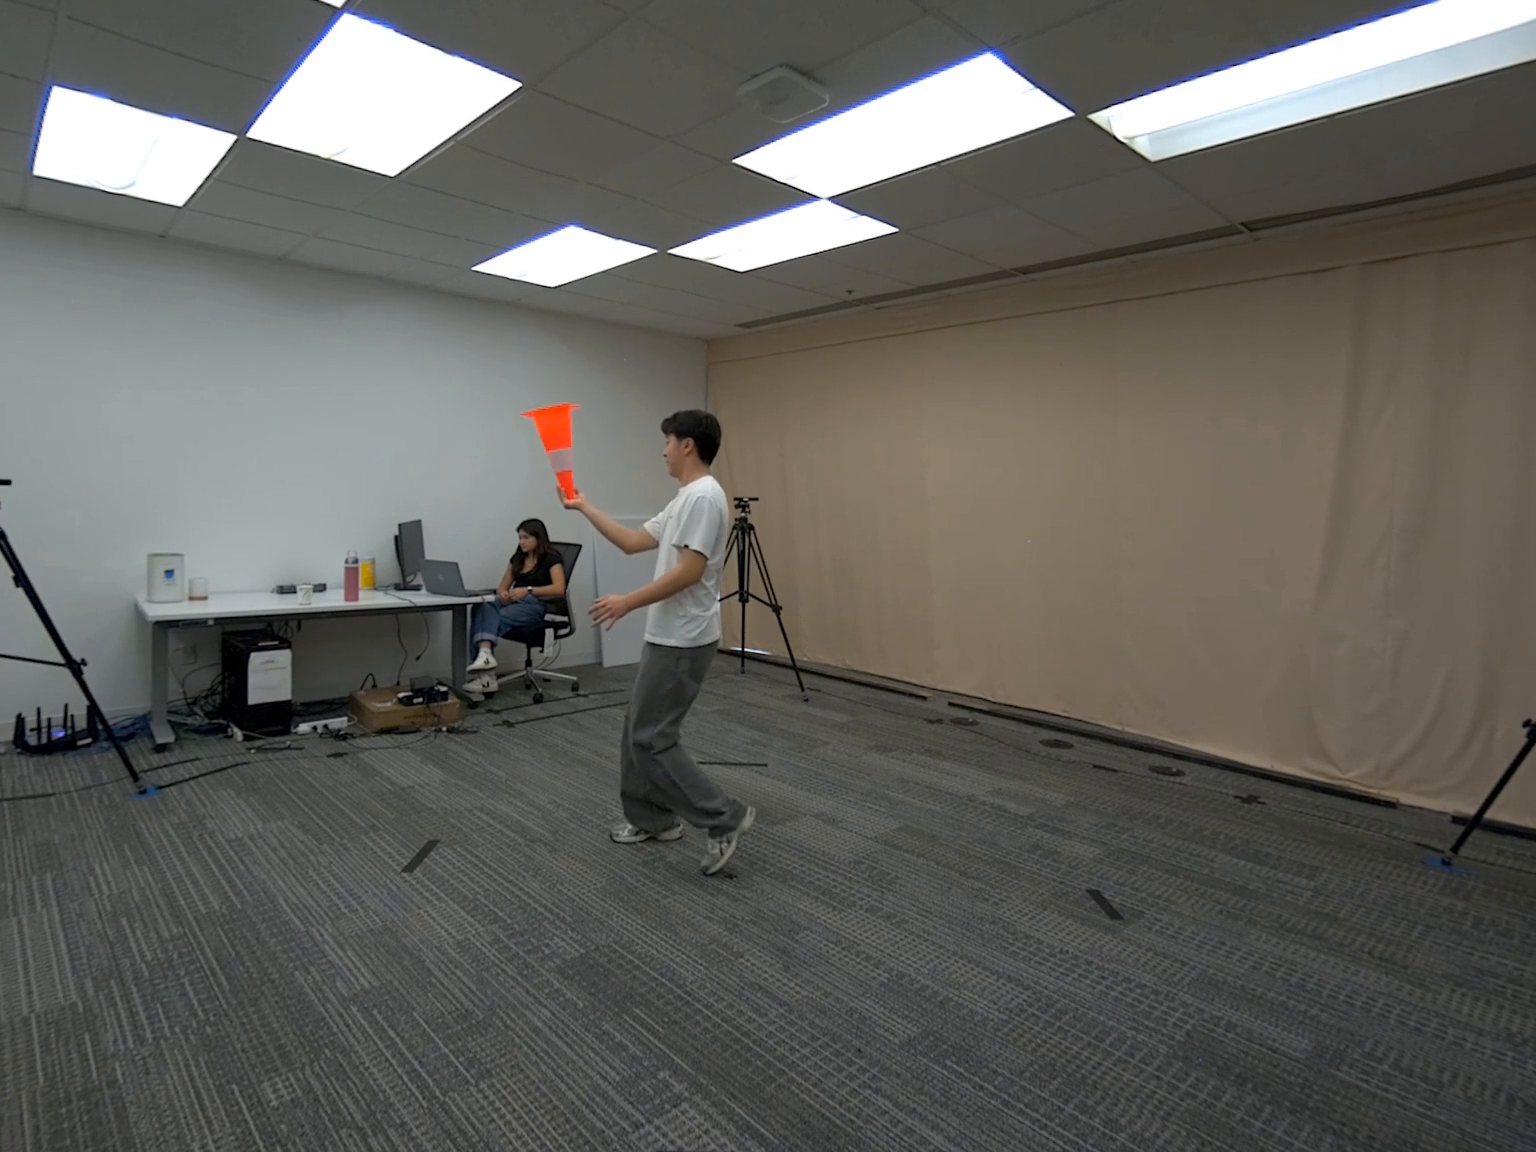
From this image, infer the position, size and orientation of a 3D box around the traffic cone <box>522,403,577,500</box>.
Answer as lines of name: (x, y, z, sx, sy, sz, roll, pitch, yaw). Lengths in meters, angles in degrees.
traffic cone: (-0.862, -0.492, 3.436, 0.206, 0.383, 0.202, -10, 1, 10)
